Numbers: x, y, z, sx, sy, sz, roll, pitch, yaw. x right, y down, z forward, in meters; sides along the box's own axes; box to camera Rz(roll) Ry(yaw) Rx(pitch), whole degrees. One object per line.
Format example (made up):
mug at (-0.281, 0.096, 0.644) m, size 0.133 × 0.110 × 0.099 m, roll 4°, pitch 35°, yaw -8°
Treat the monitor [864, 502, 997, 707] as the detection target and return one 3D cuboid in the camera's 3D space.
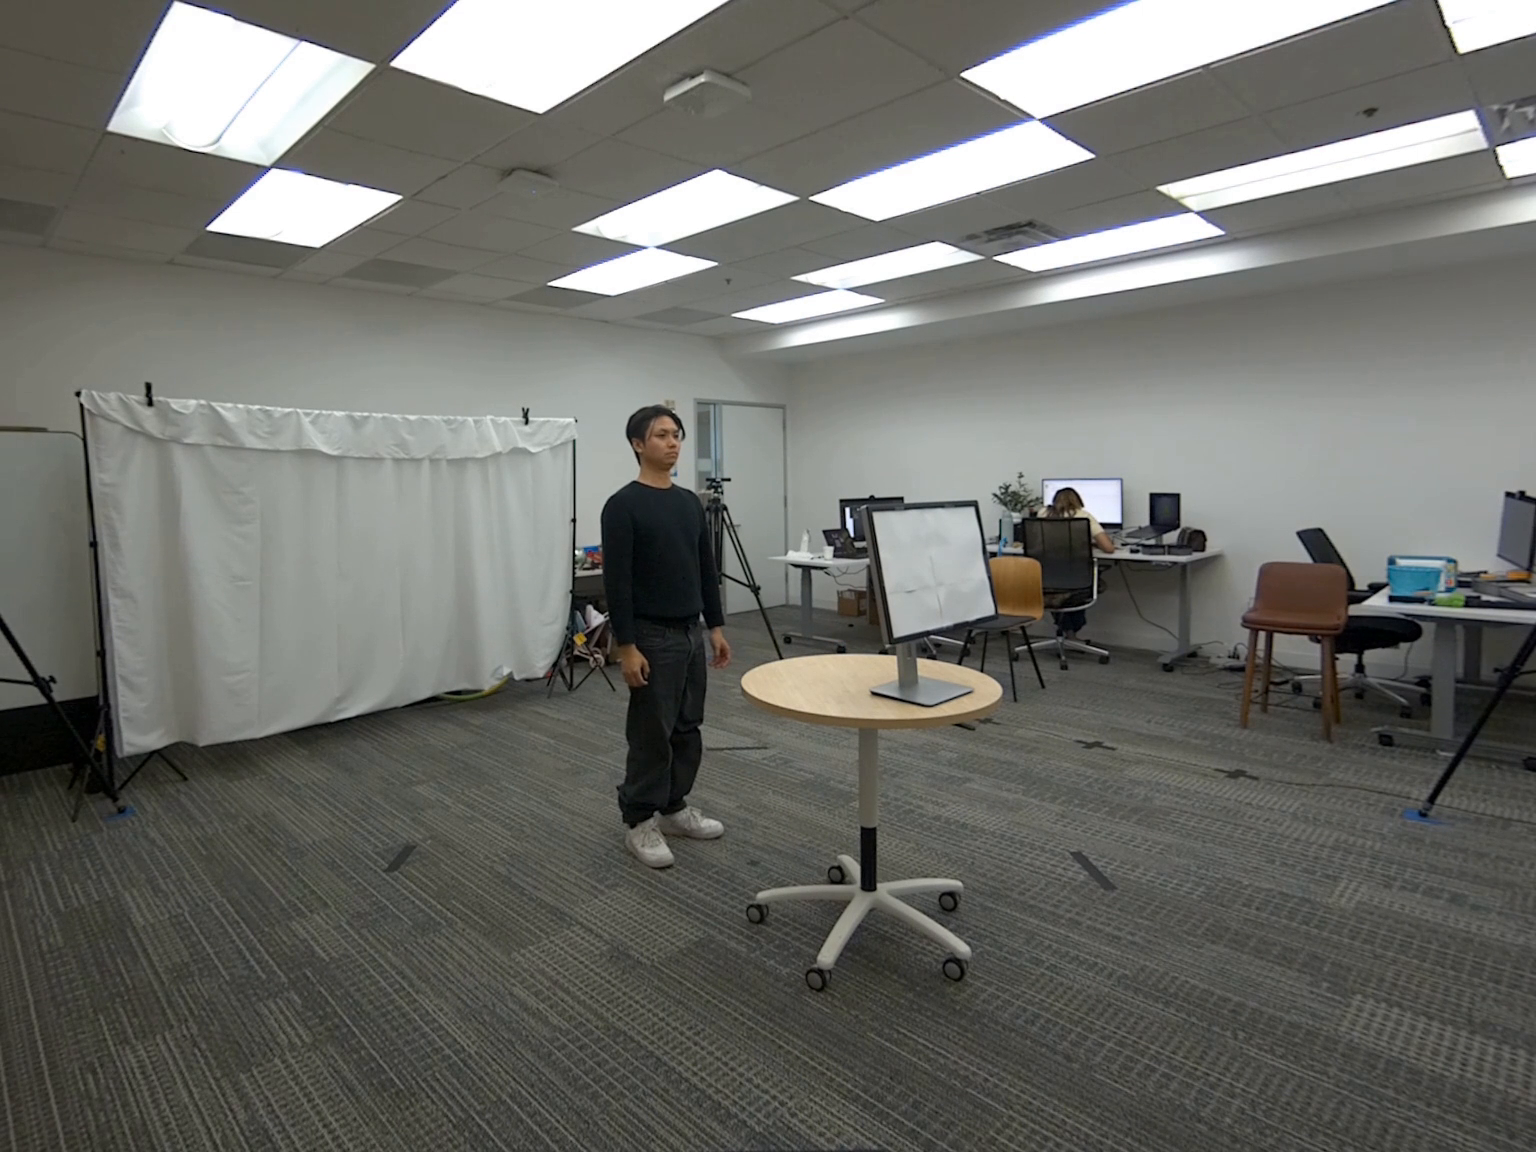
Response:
monitor at (0.450, 0.067, 2.406) m, size 0.180 × 0.513 × 0.515 m, roll 9°, pitch 9°, yaw 41°
